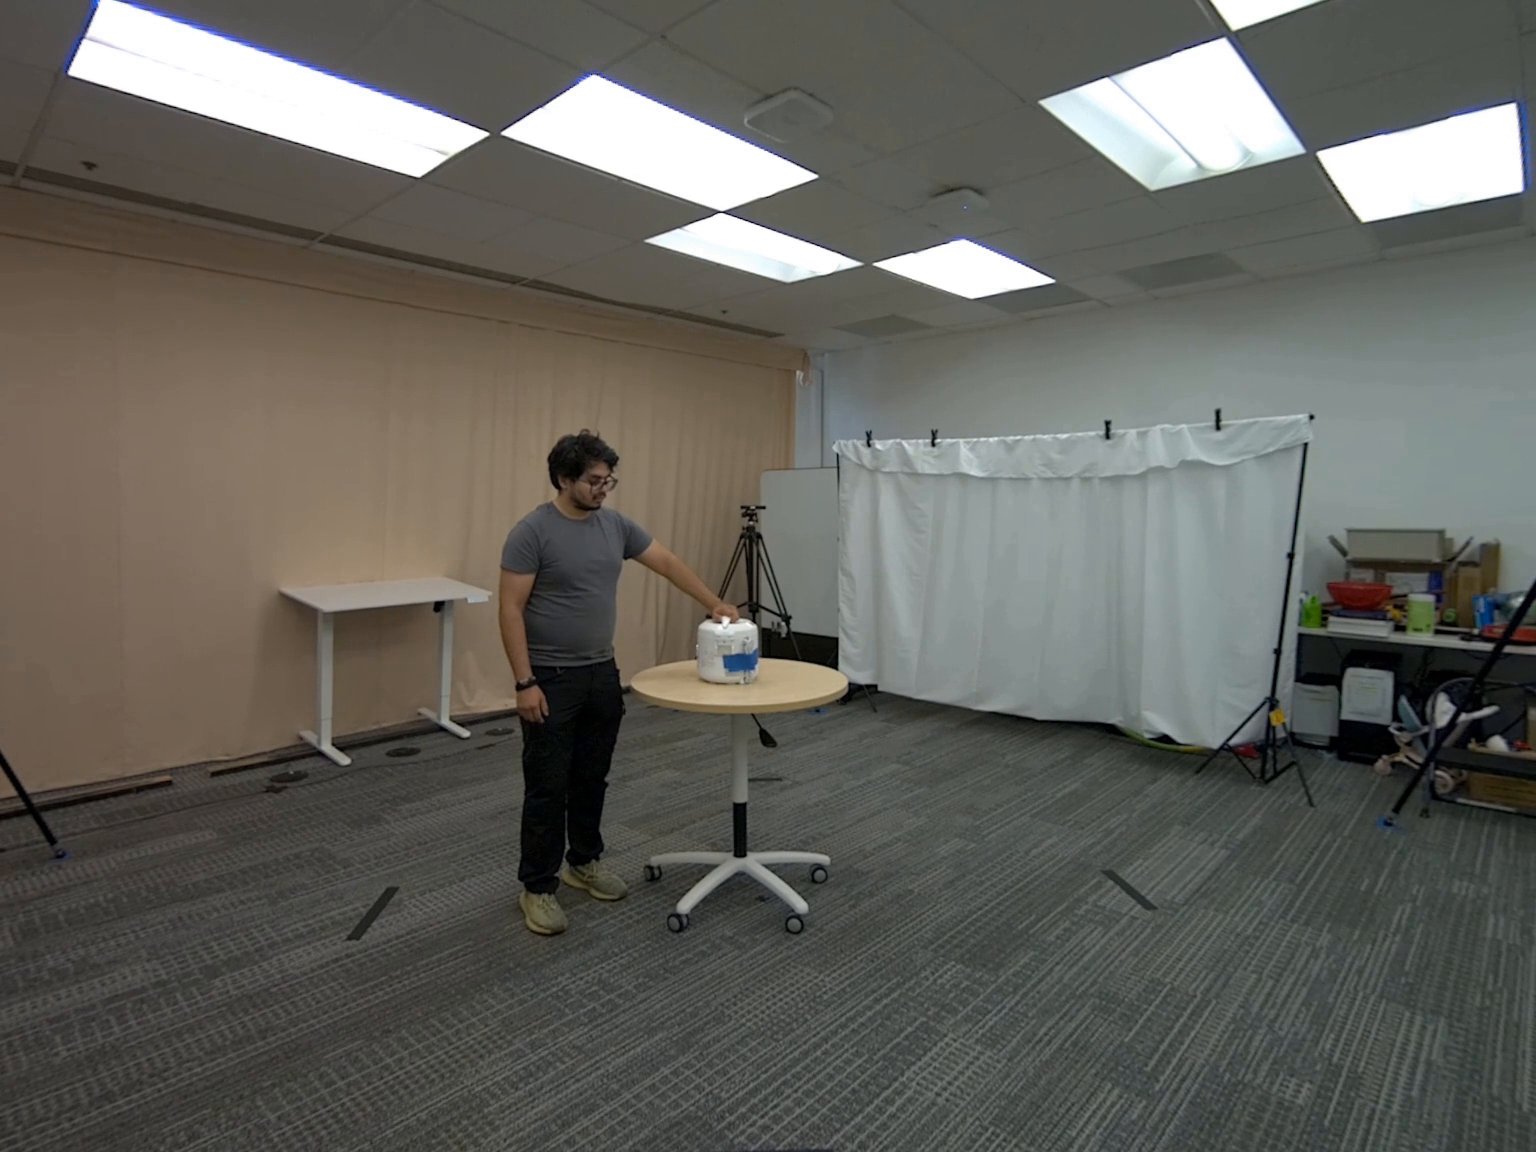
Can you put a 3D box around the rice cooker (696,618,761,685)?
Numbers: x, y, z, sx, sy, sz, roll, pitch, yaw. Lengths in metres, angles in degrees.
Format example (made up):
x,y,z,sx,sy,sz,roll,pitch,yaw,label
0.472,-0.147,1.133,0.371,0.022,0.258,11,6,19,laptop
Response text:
x,y,z,sx,sy,sz,roll,pitch,yaw,label
-0.138,0.251,2.957,0.219,0.232,0.220,0,4,4,rice cooker
